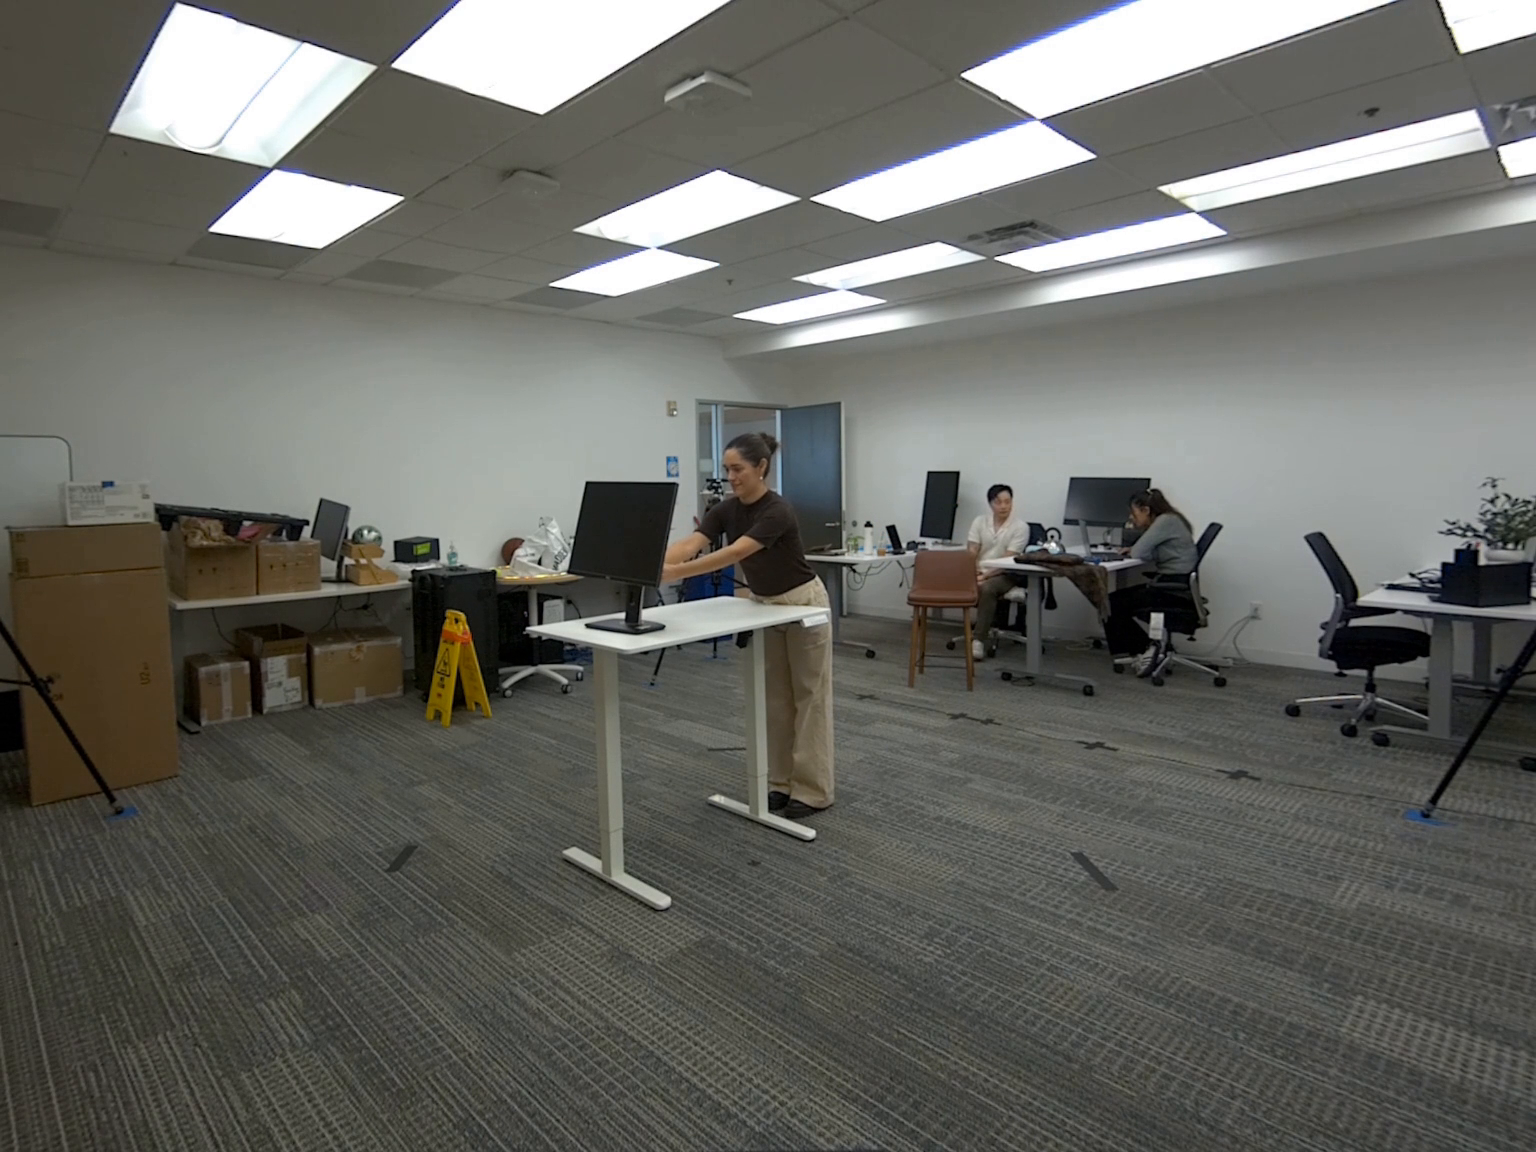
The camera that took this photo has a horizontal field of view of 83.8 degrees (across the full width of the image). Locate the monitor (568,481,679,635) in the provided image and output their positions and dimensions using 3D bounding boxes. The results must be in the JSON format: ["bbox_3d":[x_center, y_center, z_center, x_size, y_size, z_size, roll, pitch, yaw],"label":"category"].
[{"bbox_3d":[-0.498,-0.067,2.999,0.556,0.521,0.182,5,5,44],"label":"monitor"}]
